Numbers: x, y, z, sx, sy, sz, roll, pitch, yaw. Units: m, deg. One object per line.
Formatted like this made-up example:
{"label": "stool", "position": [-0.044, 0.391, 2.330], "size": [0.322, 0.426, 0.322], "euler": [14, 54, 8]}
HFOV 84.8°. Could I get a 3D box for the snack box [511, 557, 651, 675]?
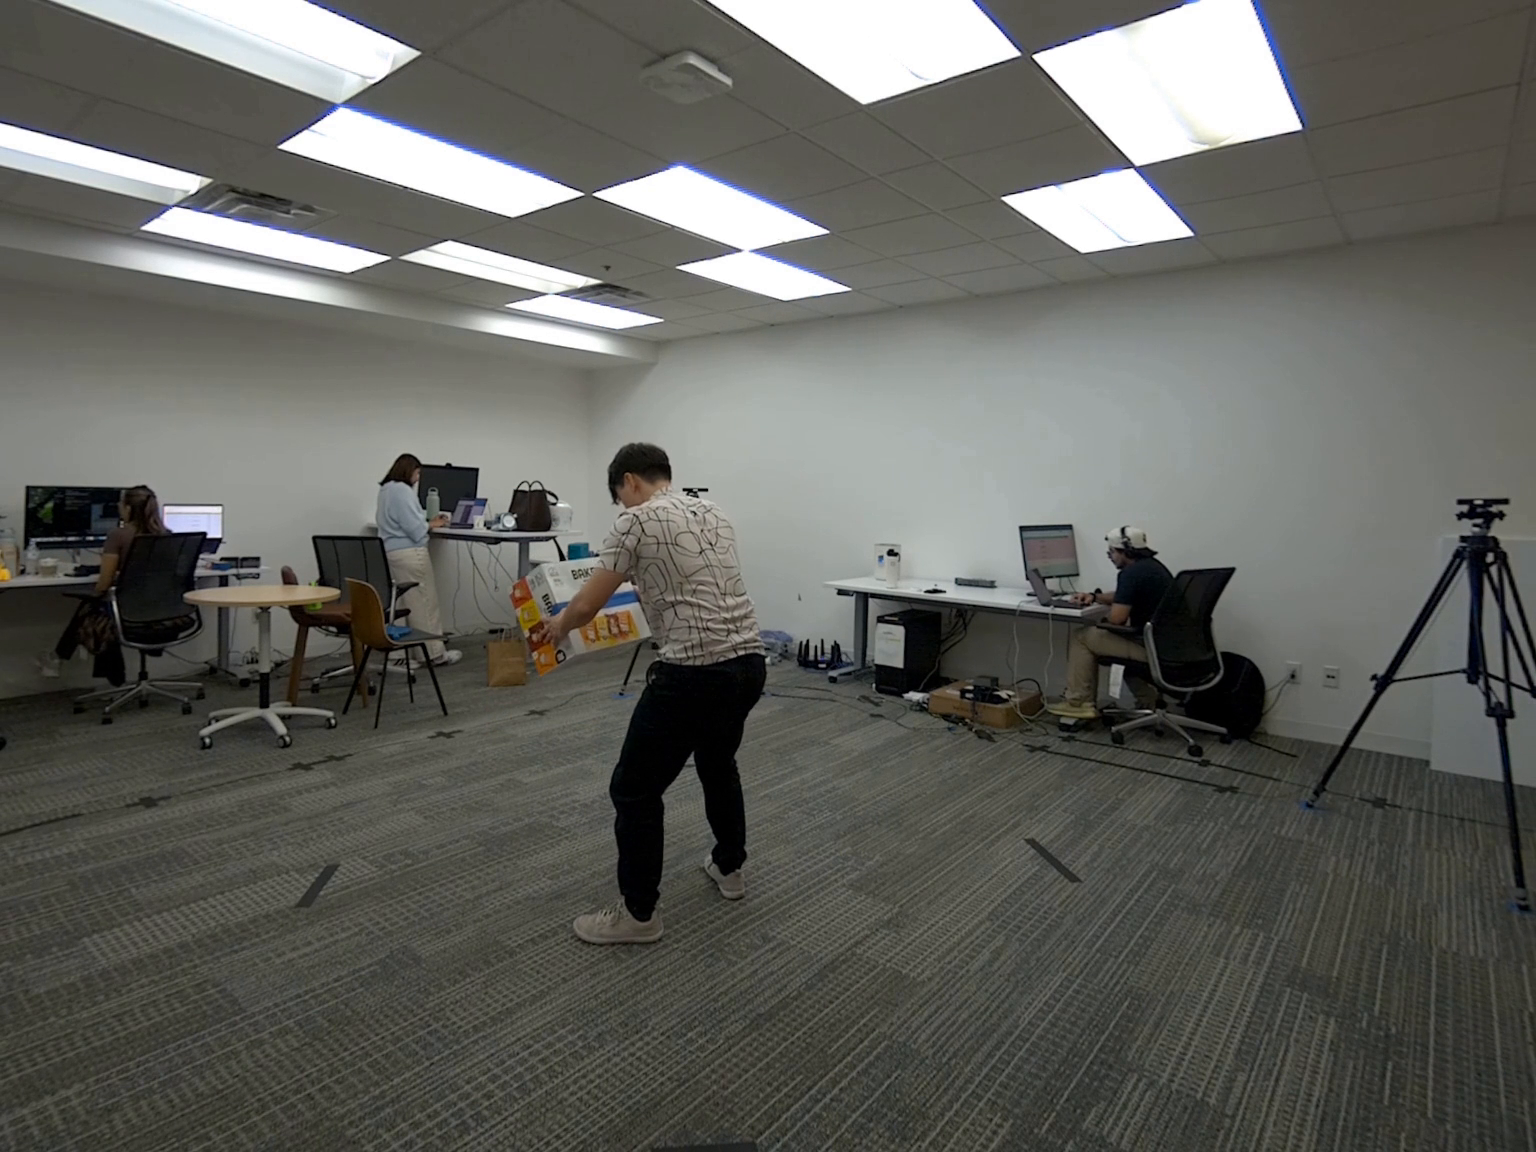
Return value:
{"label": "snack box", "position": [-0.694, 0.131, 3.102], "size": [0.208, 0.346, 0.394], "euler": [-31, -13, 33]}
